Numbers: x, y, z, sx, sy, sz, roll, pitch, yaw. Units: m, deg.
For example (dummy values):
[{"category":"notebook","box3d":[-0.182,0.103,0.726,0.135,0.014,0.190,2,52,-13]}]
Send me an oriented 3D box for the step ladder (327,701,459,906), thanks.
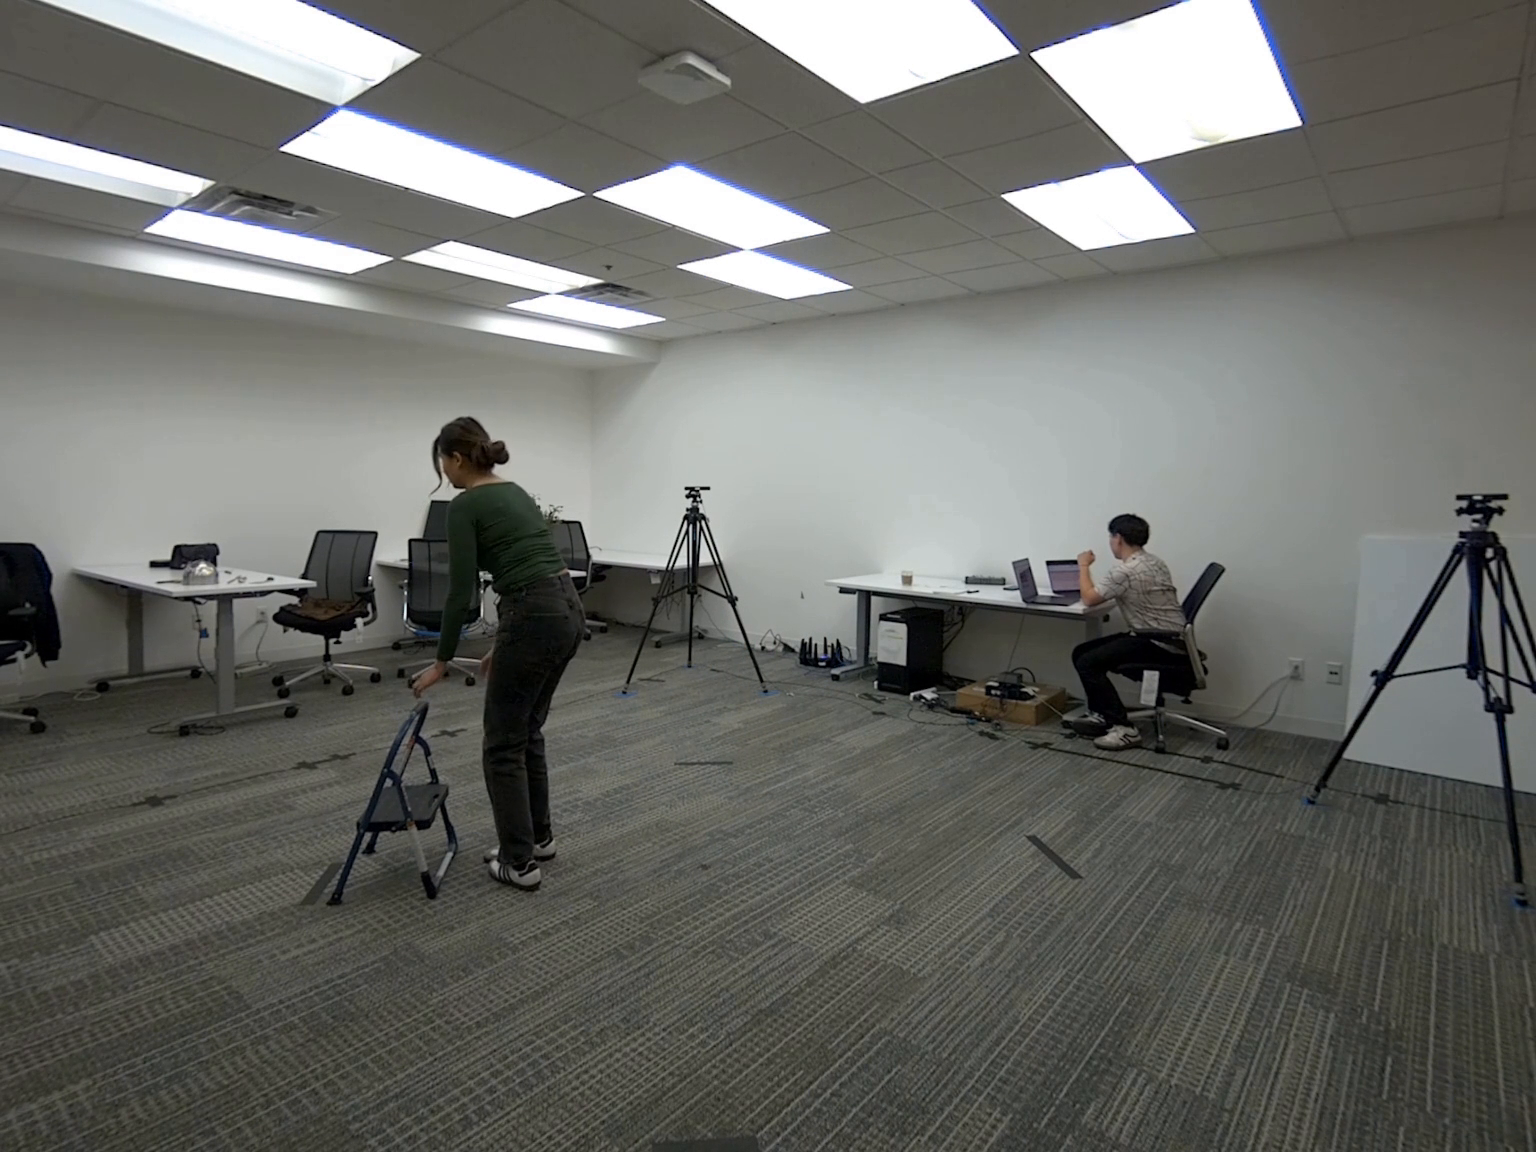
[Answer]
[{"category":"step ladder","box3d":[-1.325,0.762,3.013,0.346,0.604,0.436,0,4,-9]}]
